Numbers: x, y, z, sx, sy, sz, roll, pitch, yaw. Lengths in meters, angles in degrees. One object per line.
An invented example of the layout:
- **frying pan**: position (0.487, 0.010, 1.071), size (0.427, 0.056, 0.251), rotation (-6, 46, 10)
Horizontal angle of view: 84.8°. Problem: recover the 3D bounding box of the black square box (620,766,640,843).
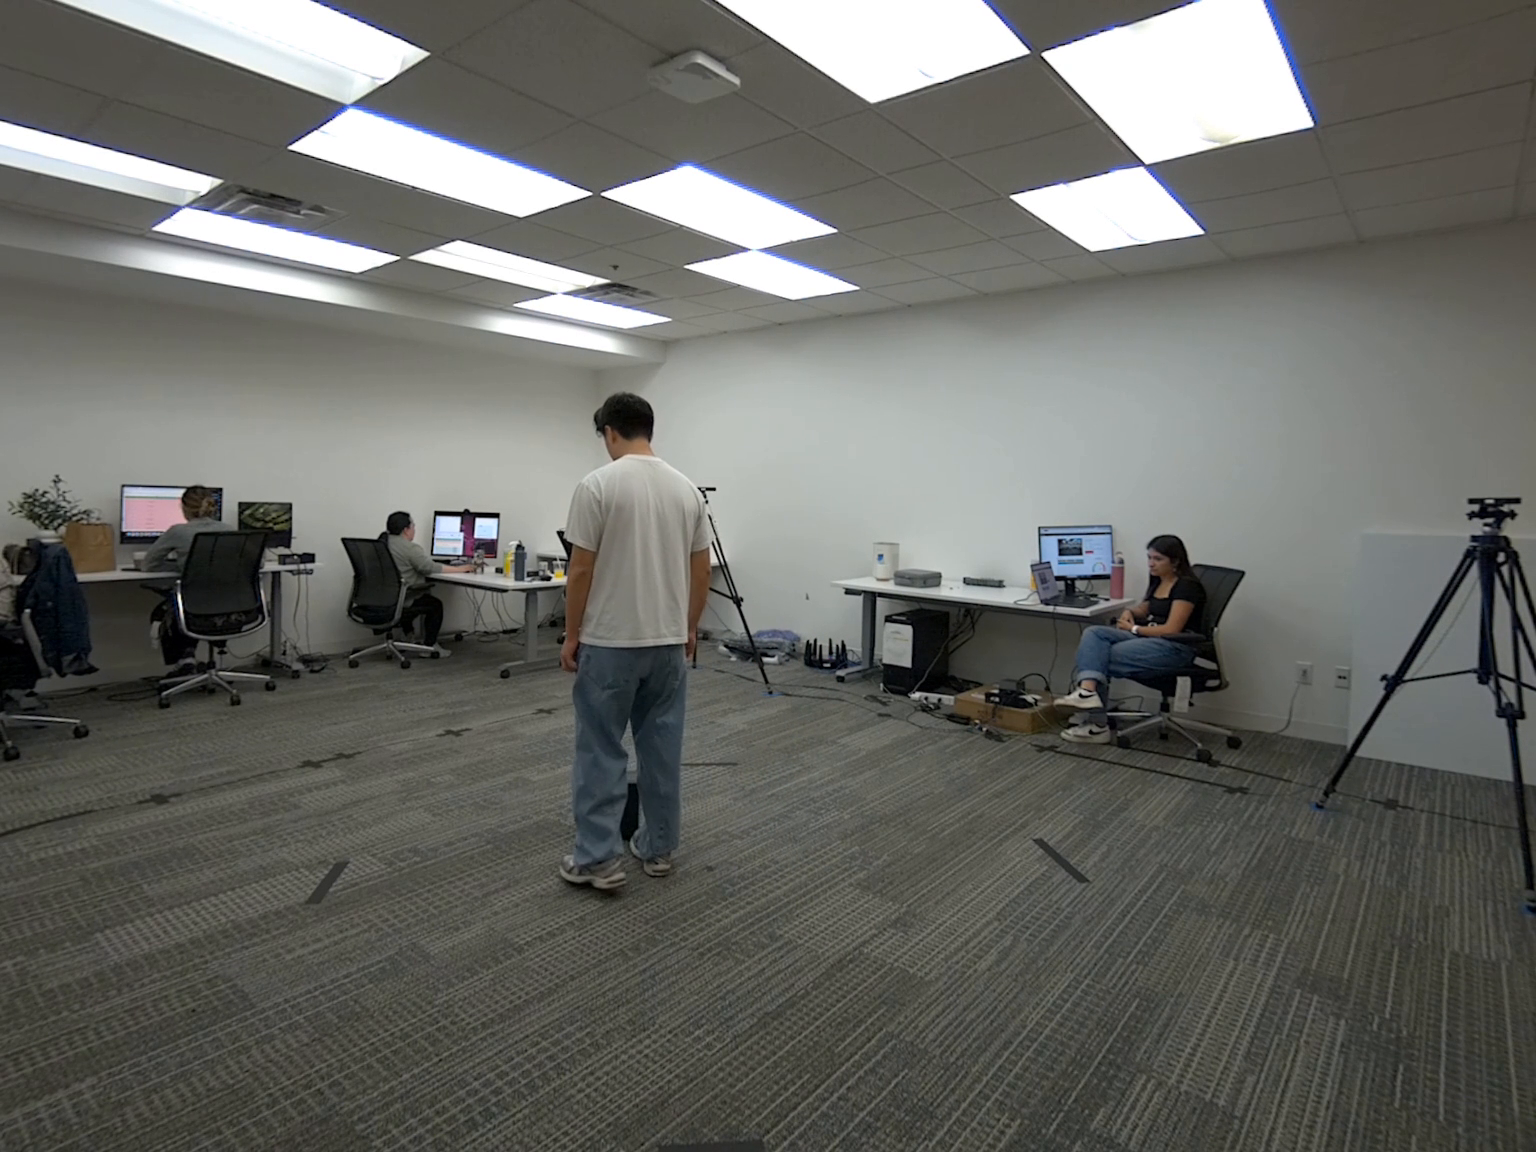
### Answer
- **black square box**: position (-0.627, 0.906, 3.404), size (0.216, 0.227, 0.157), rotation (1, 2, -5)
